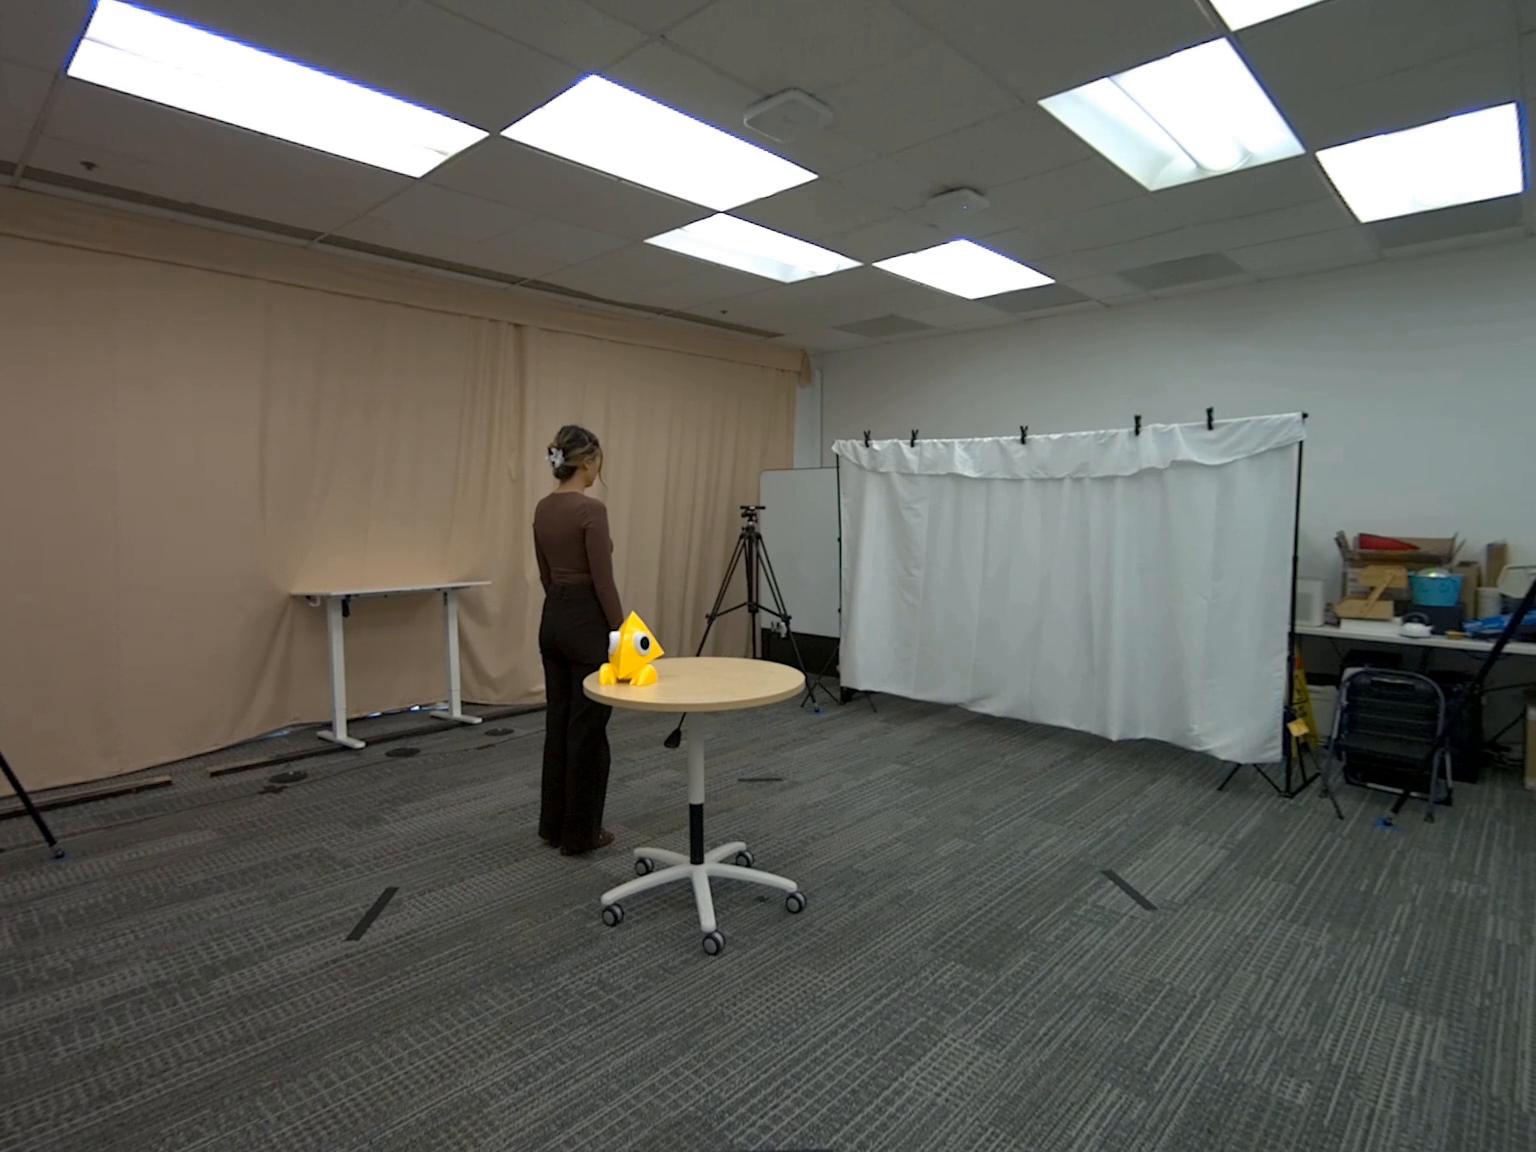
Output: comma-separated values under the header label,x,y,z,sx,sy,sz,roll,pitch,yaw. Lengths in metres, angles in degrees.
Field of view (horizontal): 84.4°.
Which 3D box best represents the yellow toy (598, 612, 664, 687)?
label,x,y,z,sx,sy,sz,roll,pitch,yaw
yellow toy,-0.482,0.246,2.897,0.207,0.230,0.191,0,4,10
